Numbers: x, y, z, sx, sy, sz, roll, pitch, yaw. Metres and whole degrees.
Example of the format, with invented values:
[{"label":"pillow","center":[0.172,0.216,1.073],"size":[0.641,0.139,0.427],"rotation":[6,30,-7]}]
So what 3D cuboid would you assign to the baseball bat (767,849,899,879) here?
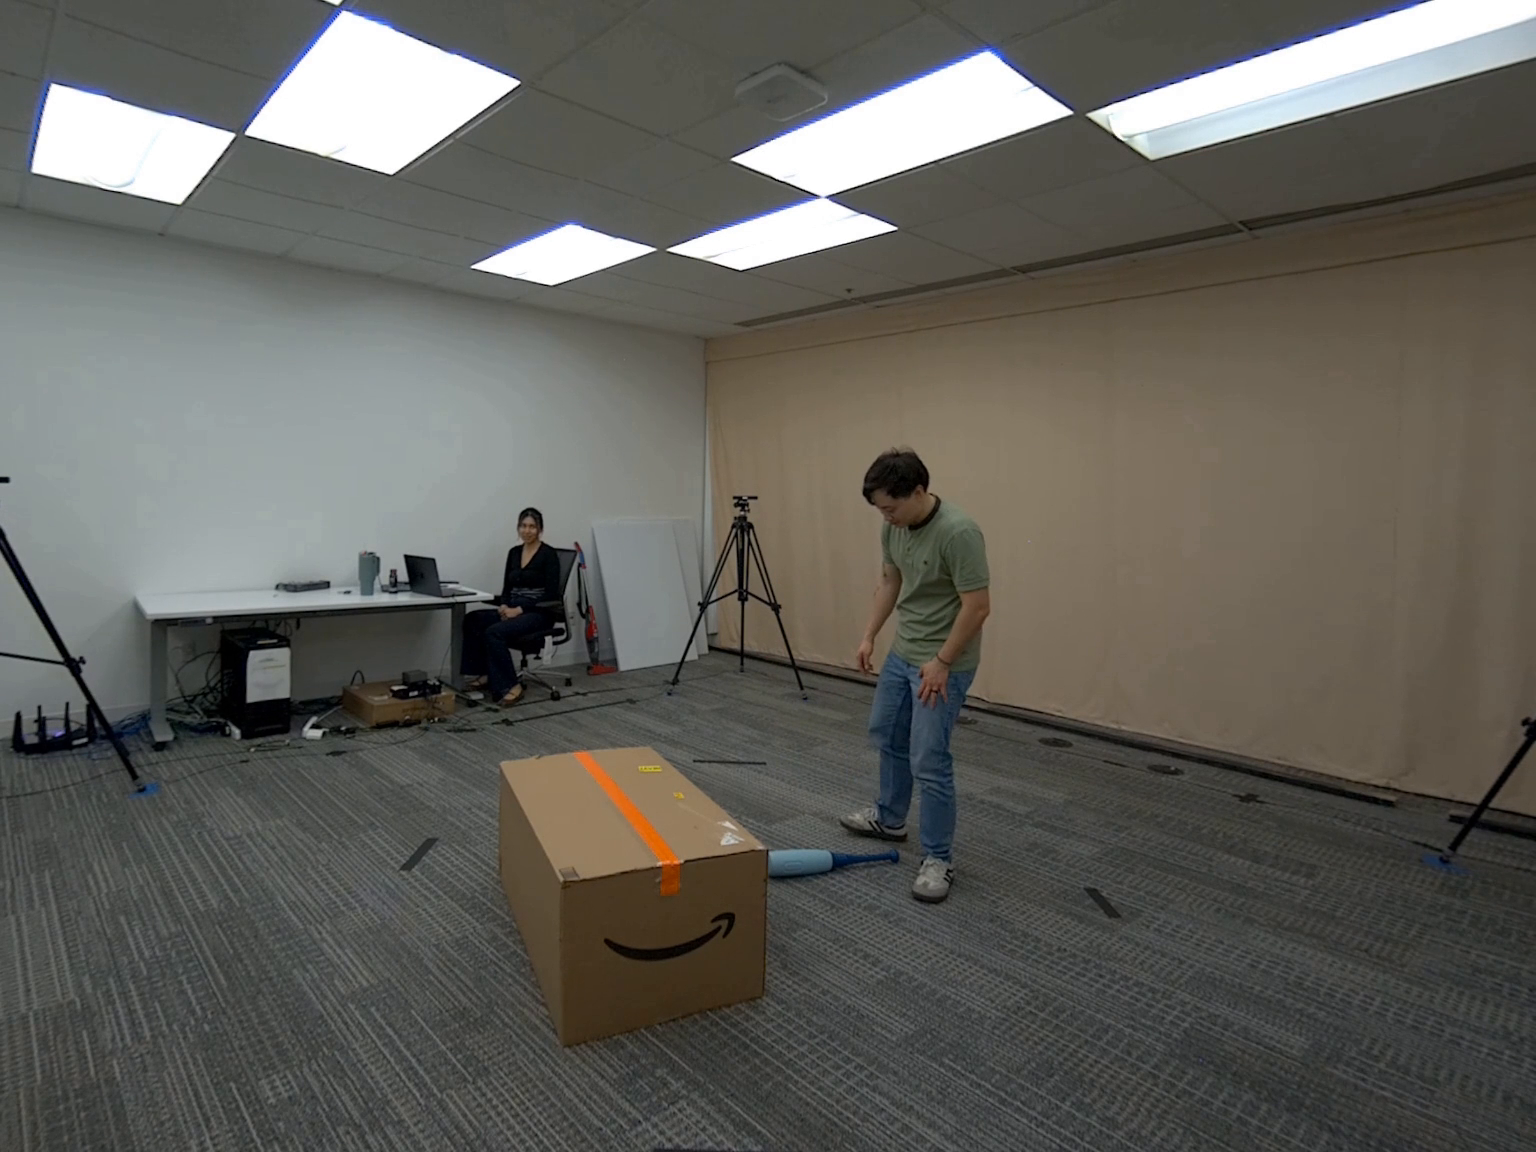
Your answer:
[{"label":"baseball bat","center":[0.242,1.067,3.170],"size":[0.535,0.089,0.090],"rotation":[3,3,-18]}]
